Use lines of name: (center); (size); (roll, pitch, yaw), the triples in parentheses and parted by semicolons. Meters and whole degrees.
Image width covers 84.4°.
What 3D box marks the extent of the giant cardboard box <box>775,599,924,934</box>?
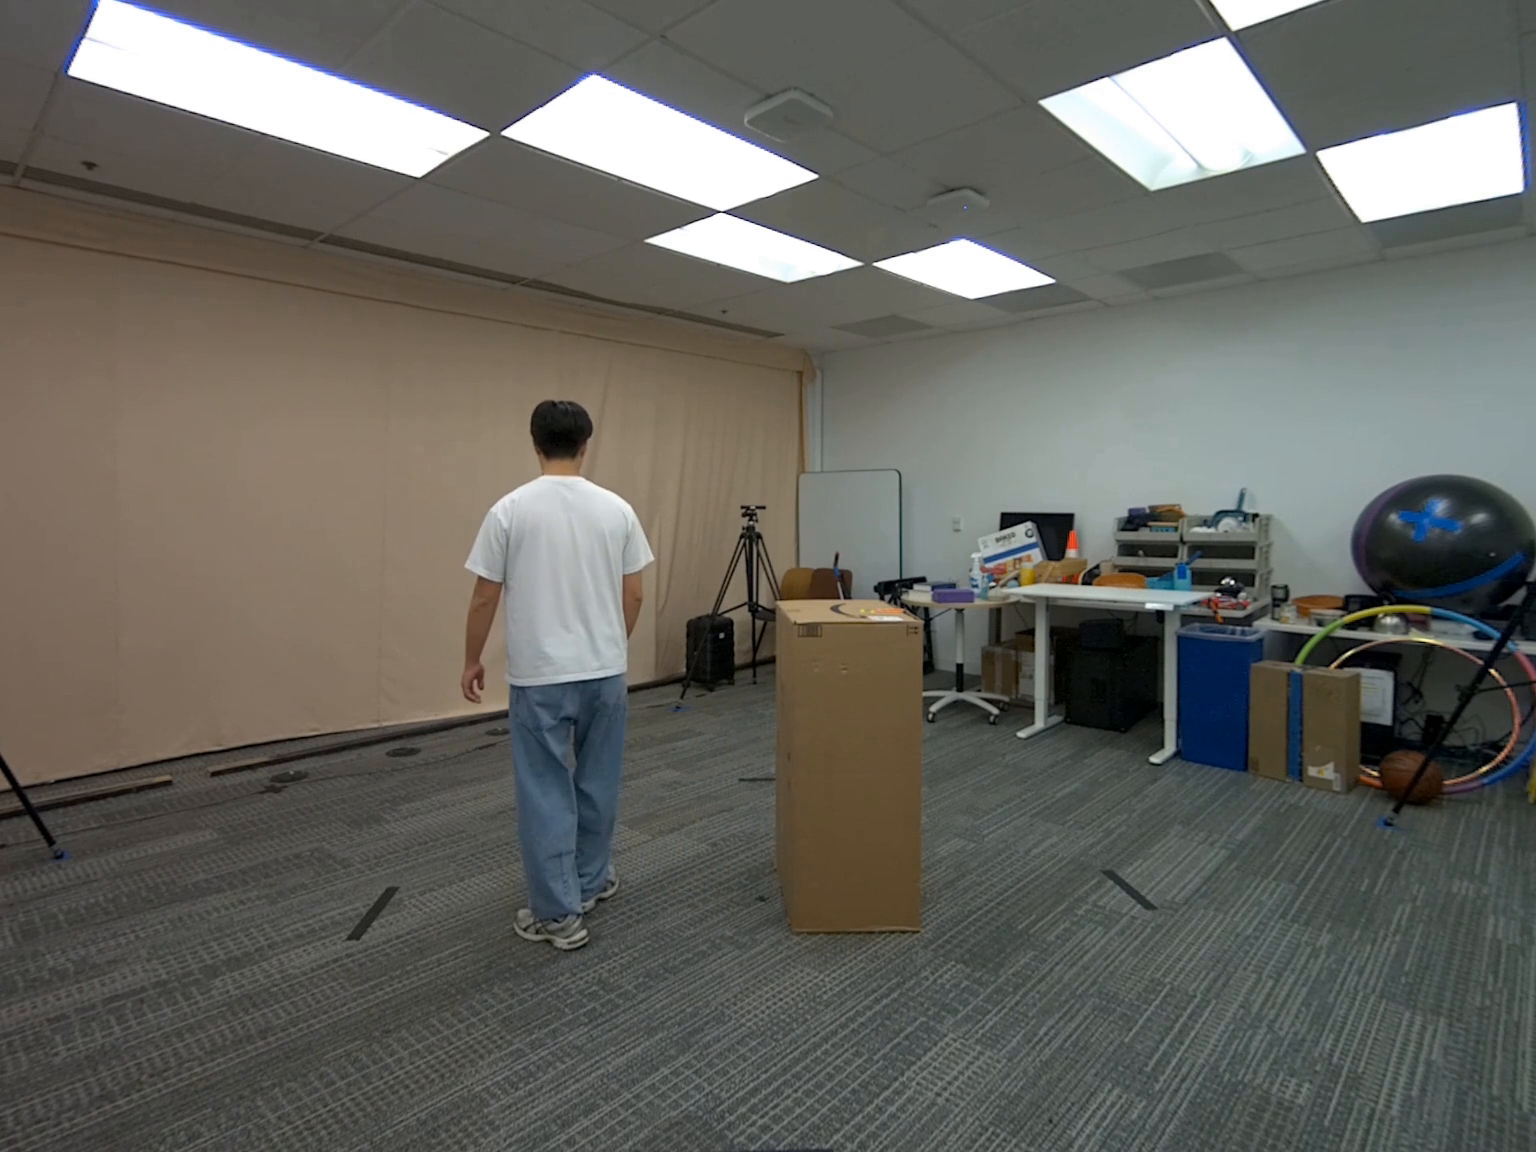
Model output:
giant cardboard box: (0.270, 0.634, 2.995); (0.425, 1.024, 0.581); (0, 3, -4)
